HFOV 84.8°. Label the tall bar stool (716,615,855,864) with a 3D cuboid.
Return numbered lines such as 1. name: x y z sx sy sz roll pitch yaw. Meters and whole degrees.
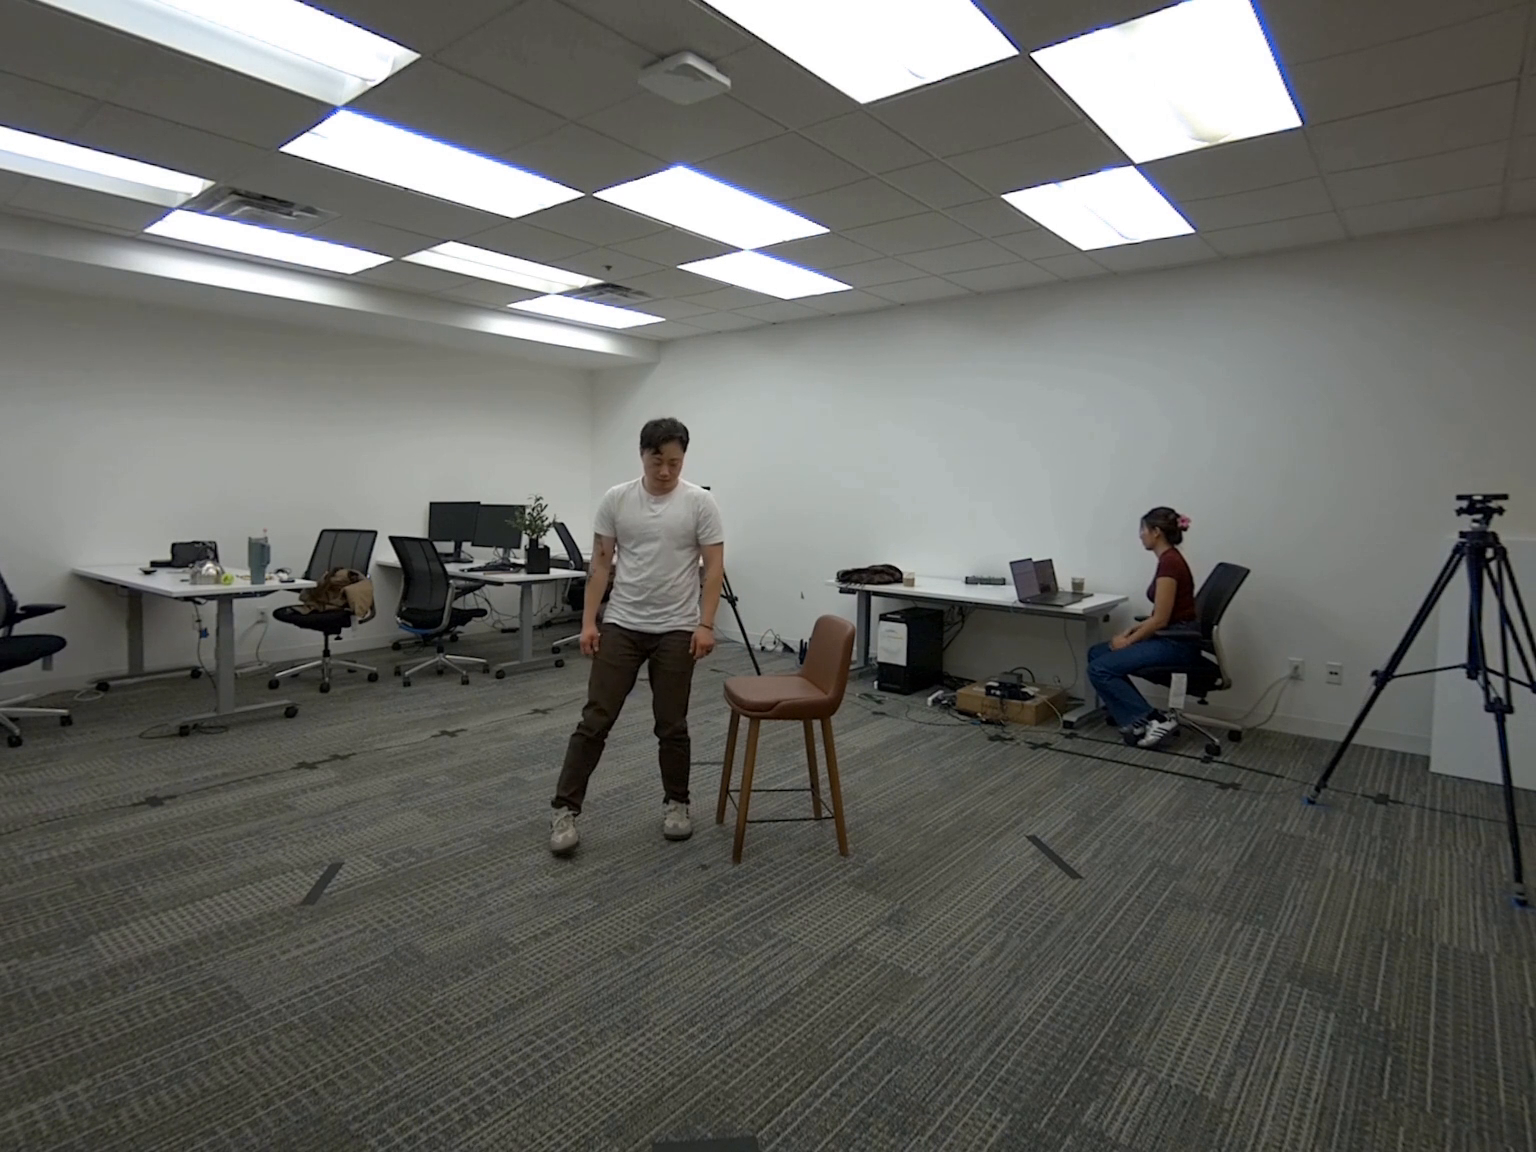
1. tall bar stool: 0.053 0.612 3.360 0.462 0.887 0.464 2 3 -12
